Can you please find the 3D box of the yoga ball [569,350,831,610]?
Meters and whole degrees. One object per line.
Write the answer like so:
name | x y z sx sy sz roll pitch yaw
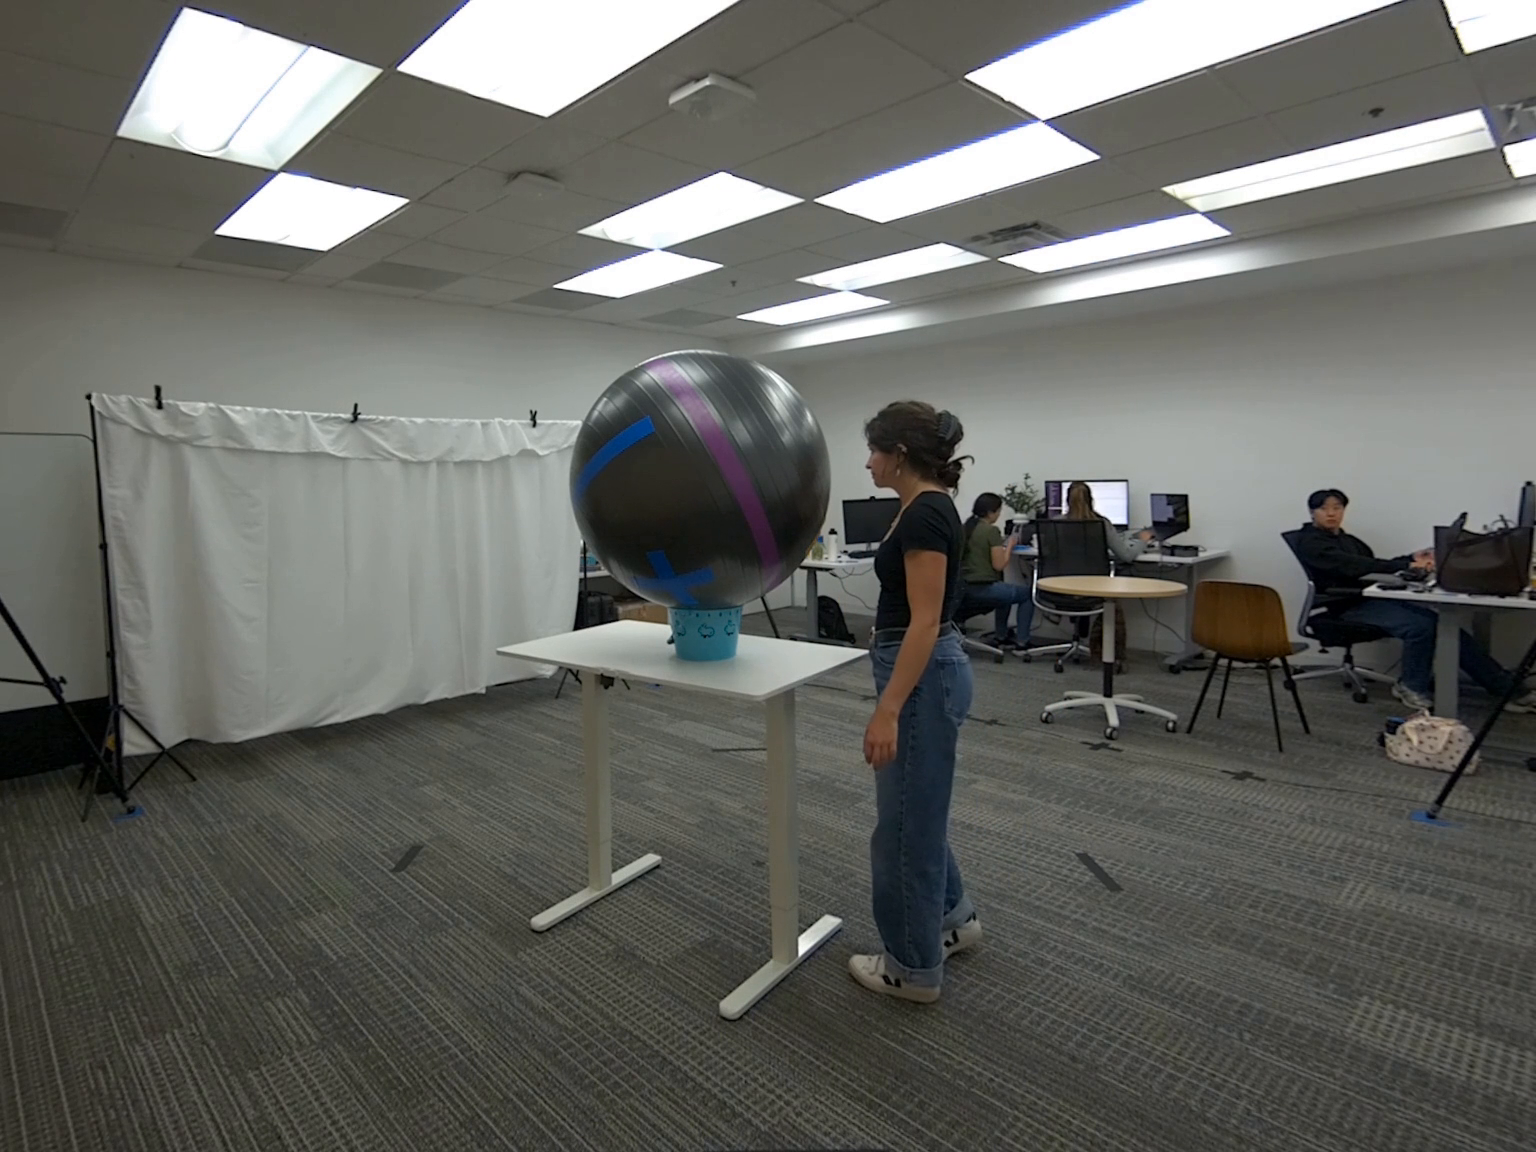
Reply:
yoga ball | -0.193 -0.273 2.502 0.757 0.755 0.762 -1 5 -2
